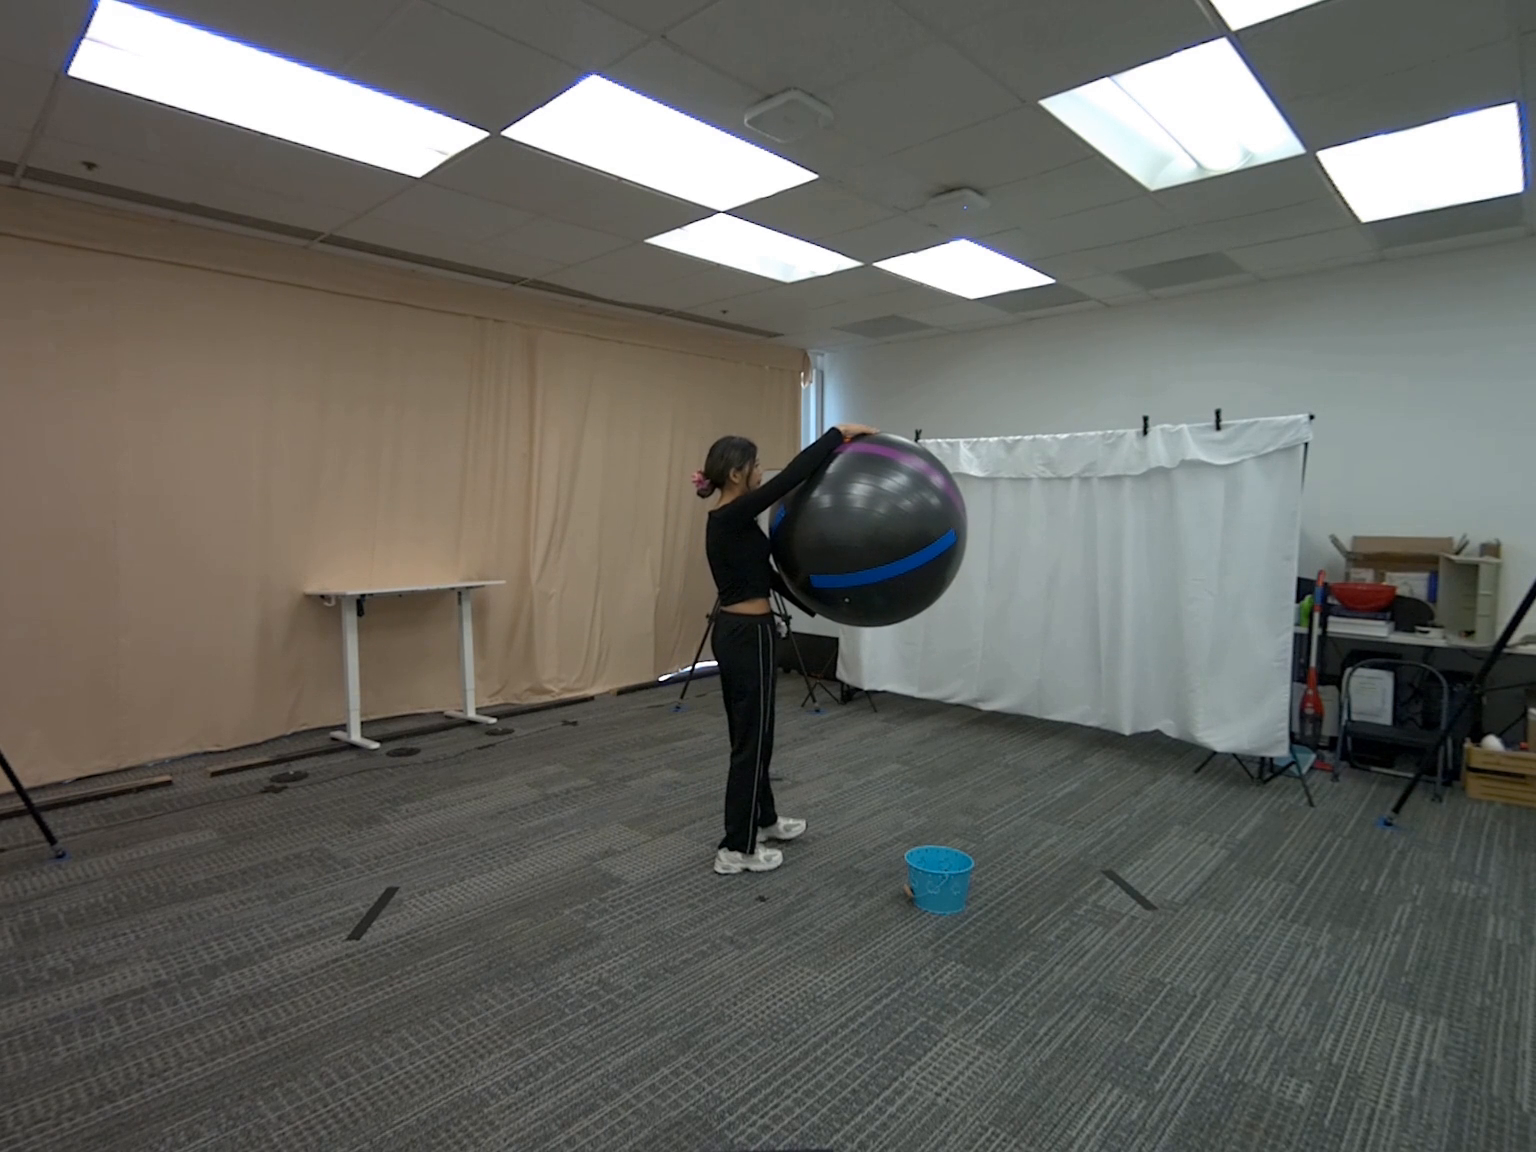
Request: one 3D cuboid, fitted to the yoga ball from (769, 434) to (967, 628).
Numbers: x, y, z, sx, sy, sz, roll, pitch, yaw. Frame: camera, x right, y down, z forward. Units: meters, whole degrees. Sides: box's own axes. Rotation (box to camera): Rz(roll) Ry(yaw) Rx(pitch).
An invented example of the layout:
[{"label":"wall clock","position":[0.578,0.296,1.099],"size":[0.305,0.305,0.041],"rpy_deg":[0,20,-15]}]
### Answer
[{"label":"yoga ball","position":[0.390,-0.180,3.266],"size":[0.757,0.756,0.760],"rpy_deg":[0,4,-2]}]
